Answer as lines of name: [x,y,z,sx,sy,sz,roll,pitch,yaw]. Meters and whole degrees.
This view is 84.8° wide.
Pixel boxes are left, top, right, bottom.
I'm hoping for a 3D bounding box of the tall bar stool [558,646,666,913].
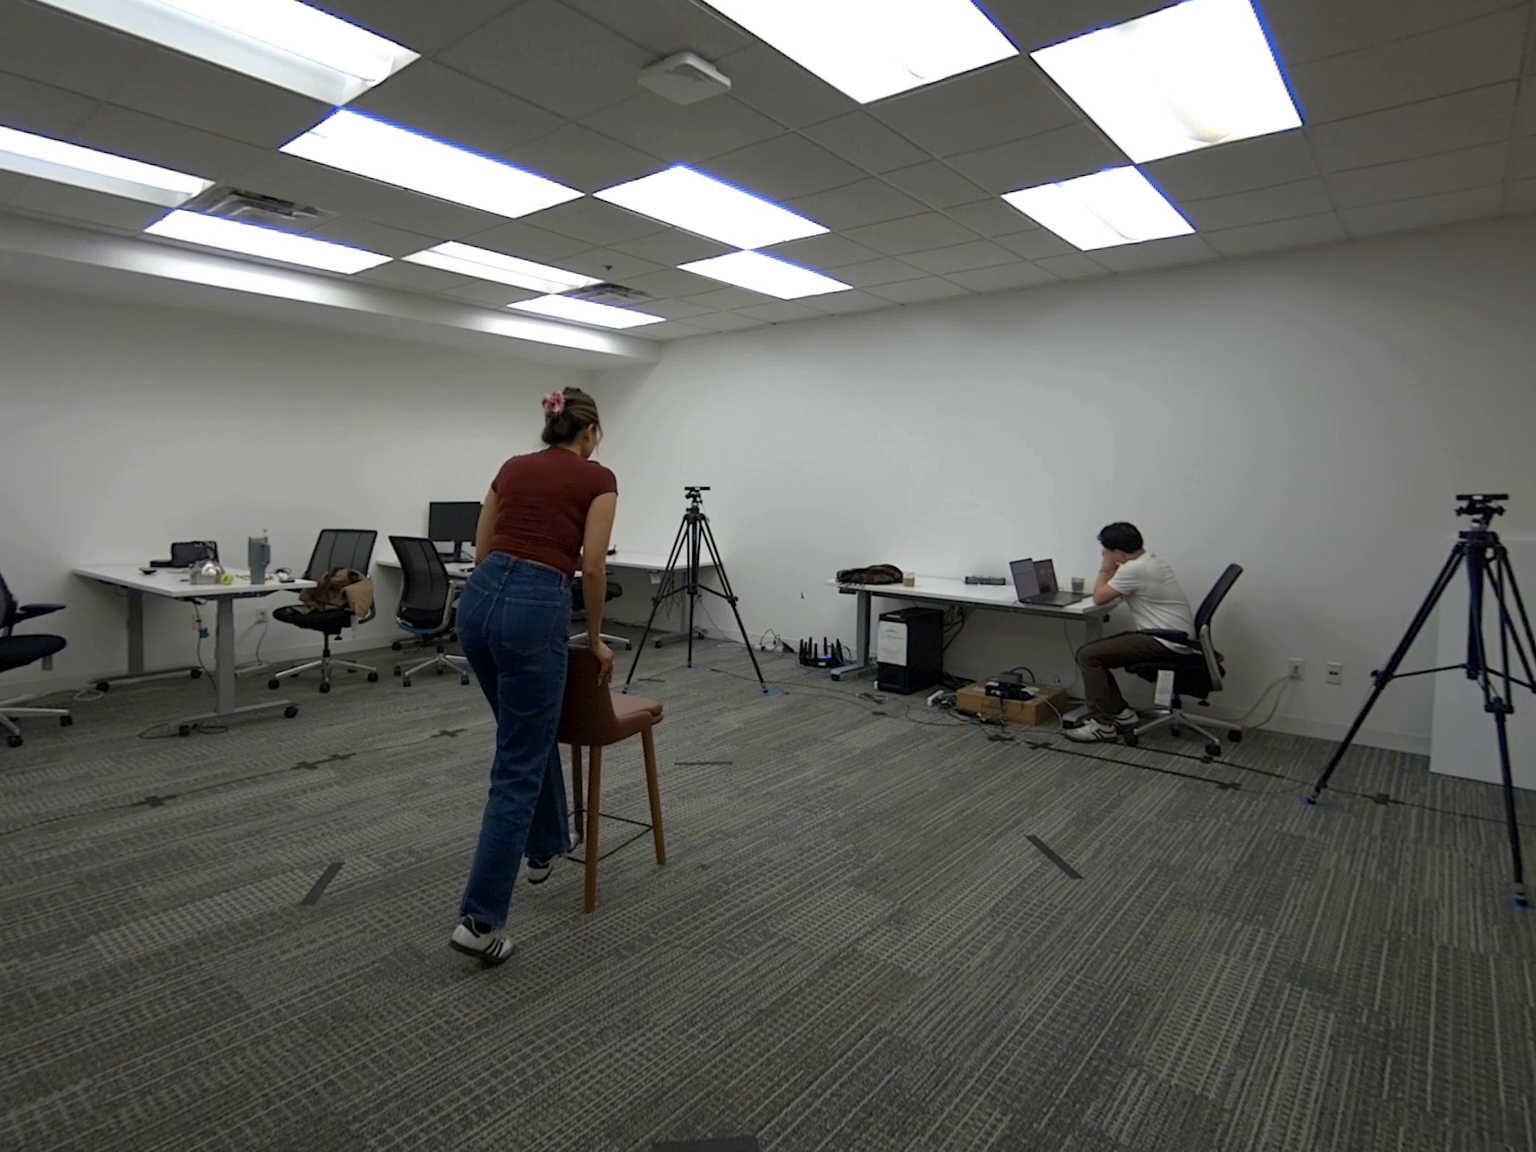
tall bar stool: [-0.661,0.630,3.018,0.469,0.885,0.457,2,6,27]
